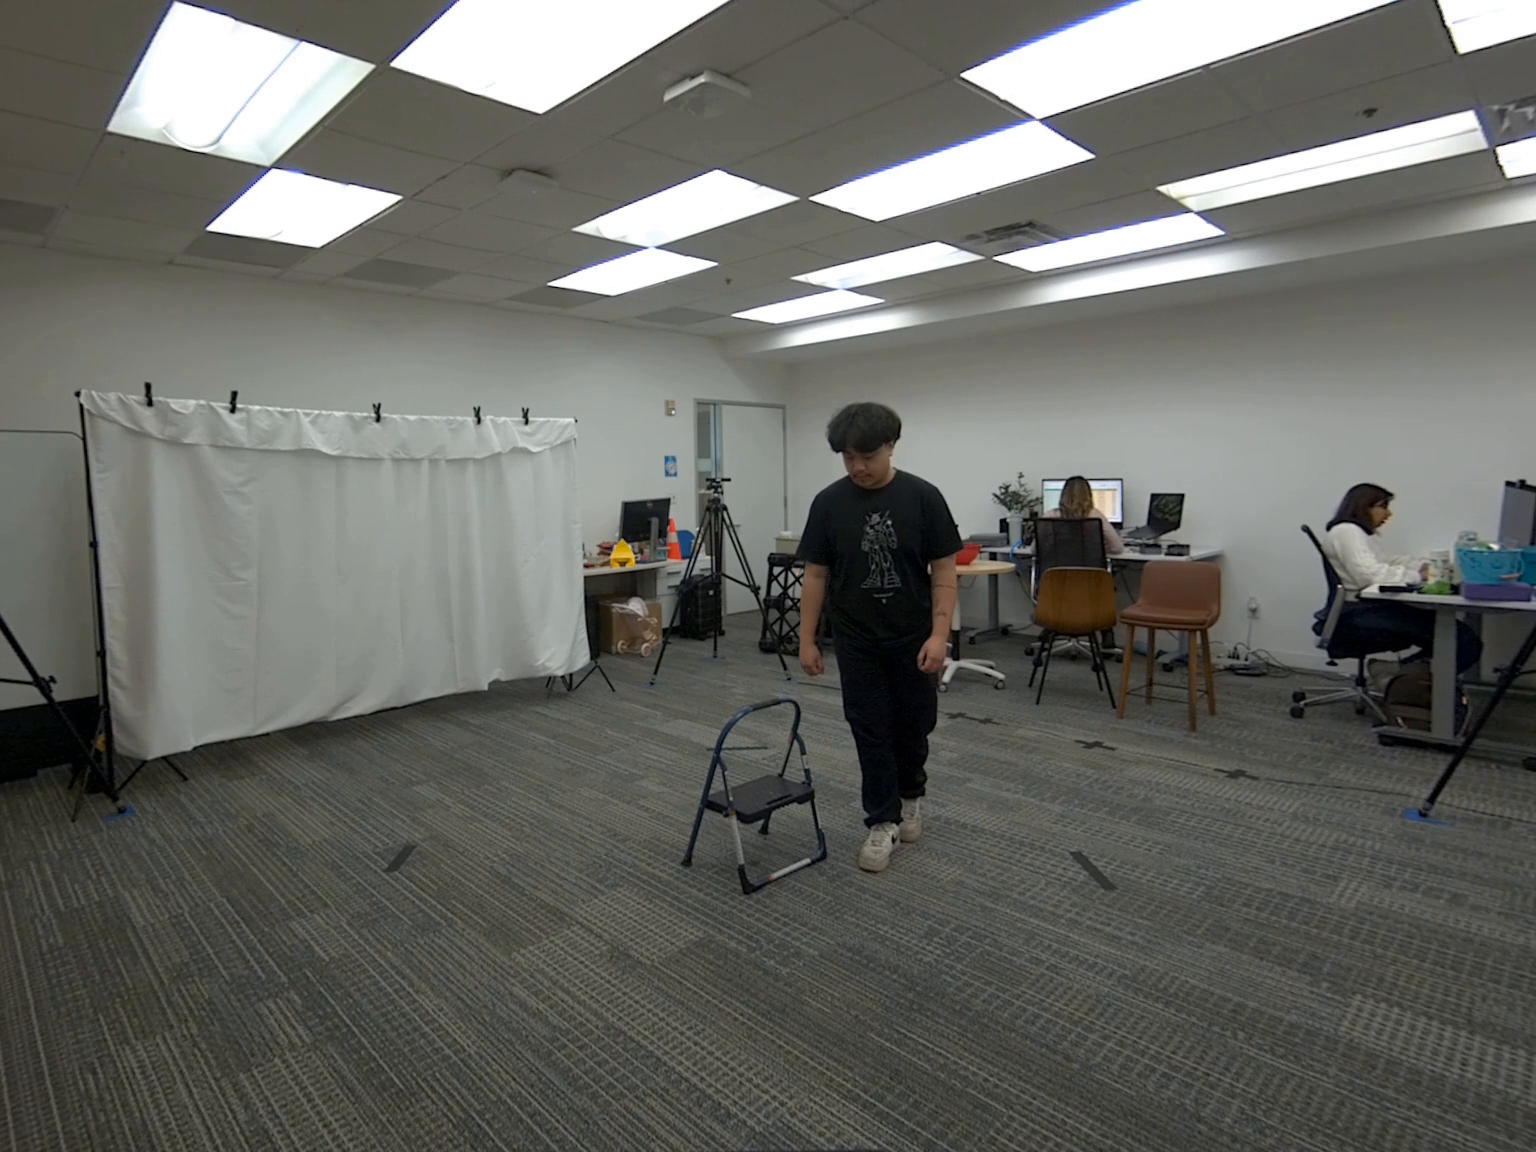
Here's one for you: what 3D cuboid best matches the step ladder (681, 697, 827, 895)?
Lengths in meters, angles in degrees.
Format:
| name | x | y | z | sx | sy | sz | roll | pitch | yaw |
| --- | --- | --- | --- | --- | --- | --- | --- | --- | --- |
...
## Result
| name | x | y | z | sx | sy | sz | roll | pitch | yaw |
| --- | --- | --- | --- | --- | --- | --- | --- | --- | --- |
| step ladder | -0.051 | 0.738 | 3.105 | 0.419 | 0.604 | 0.360 | -5 | 5 | -45 |
